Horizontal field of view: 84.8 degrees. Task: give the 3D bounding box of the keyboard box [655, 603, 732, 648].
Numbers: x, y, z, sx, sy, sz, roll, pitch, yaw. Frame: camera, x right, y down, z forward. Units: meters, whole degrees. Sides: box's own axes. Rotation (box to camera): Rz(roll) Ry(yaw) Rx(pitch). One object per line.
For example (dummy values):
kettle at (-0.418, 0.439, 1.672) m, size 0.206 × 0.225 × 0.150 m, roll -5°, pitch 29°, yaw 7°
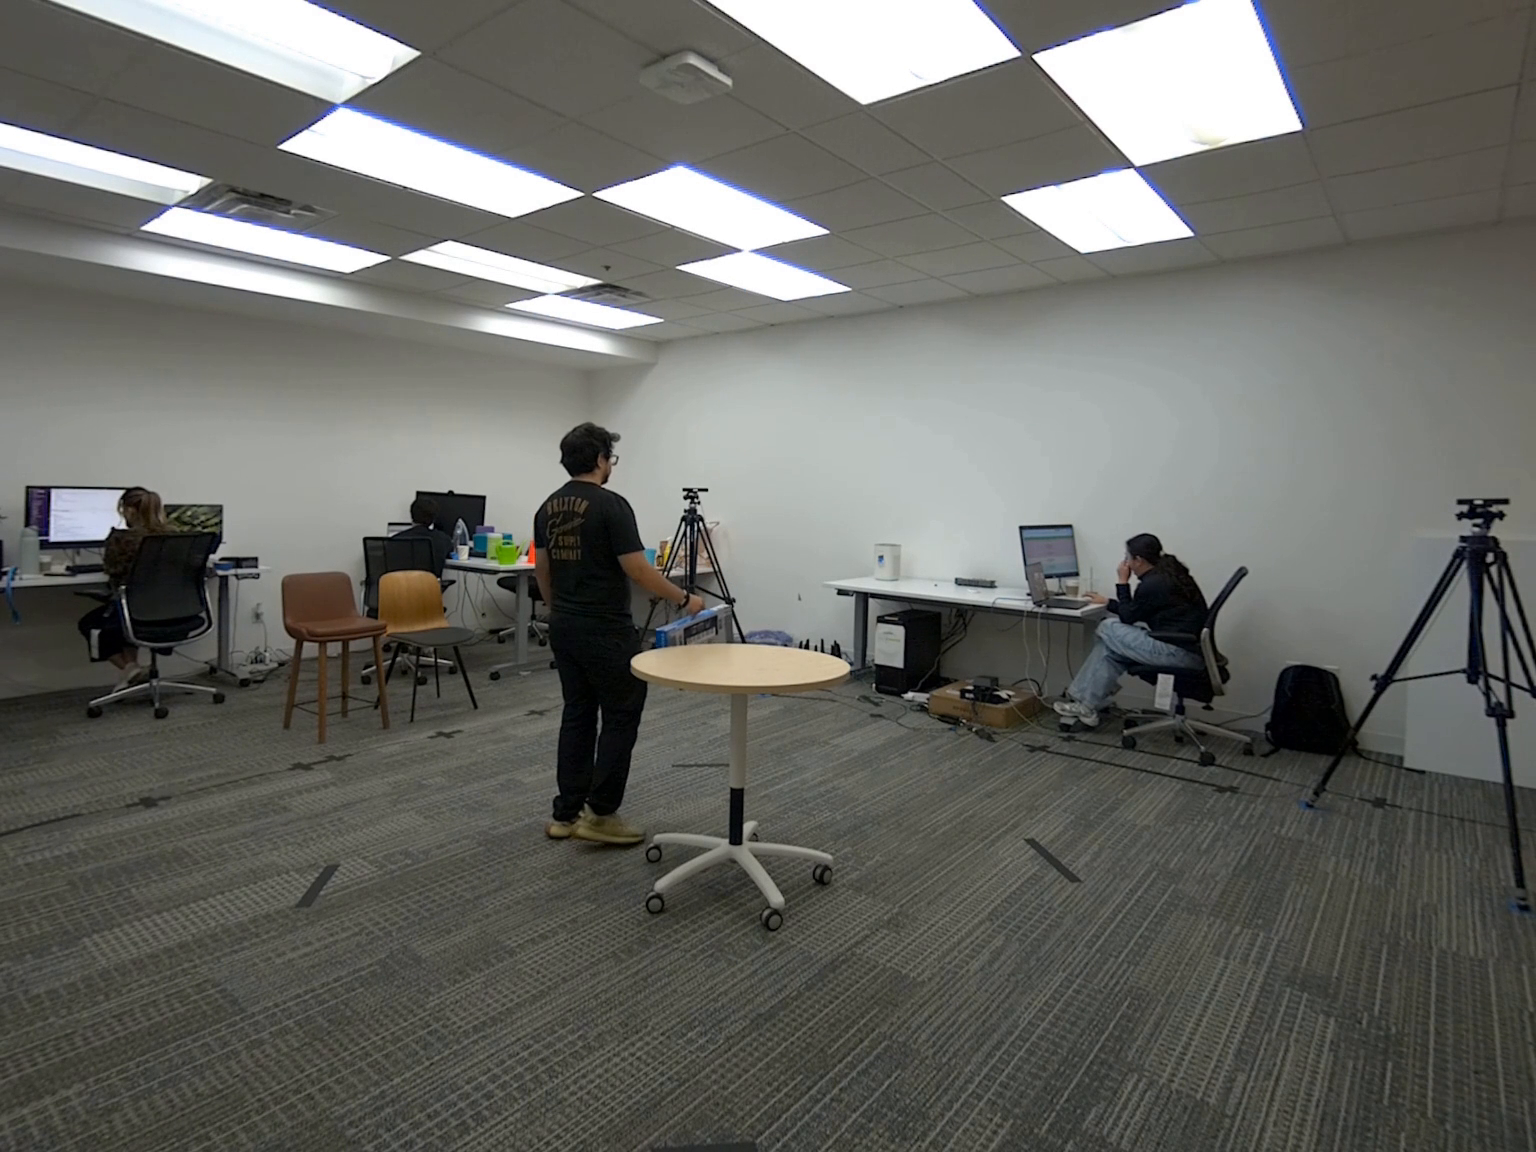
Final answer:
keyboard box at (-0.308, 0.252, 3.501) m, size 0.061 × 0.174 × 0.427 m, roll 7°, pitch 16°, yaw 35°
